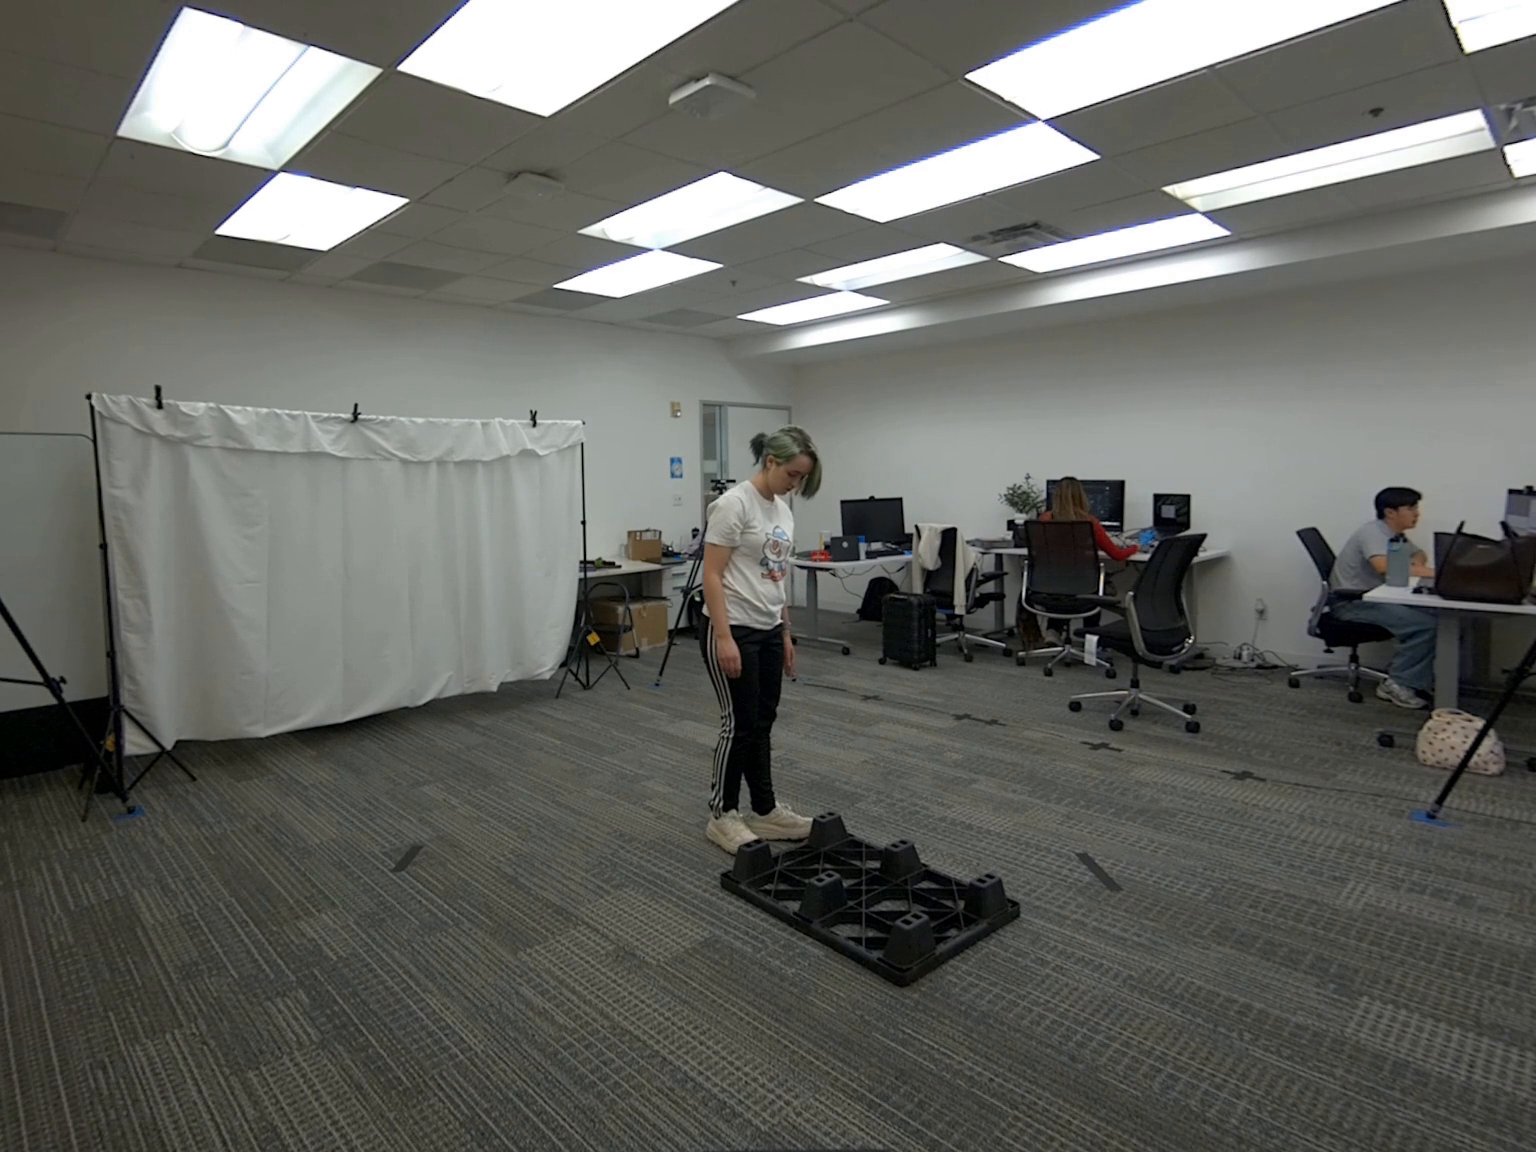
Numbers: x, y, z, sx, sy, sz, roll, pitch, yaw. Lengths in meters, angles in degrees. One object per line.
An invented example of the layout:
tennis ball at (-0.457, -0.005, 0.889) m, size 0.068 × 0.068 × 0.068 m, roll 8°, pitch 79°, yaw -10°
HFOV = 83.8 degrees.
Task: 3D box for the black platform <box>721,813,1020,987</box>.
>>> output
black platform at (0.312, 1.007, 2.822) m, size 0.589 × 0.143 × 0.830 m, roll -6°, pitch 8°, yaw -41°
